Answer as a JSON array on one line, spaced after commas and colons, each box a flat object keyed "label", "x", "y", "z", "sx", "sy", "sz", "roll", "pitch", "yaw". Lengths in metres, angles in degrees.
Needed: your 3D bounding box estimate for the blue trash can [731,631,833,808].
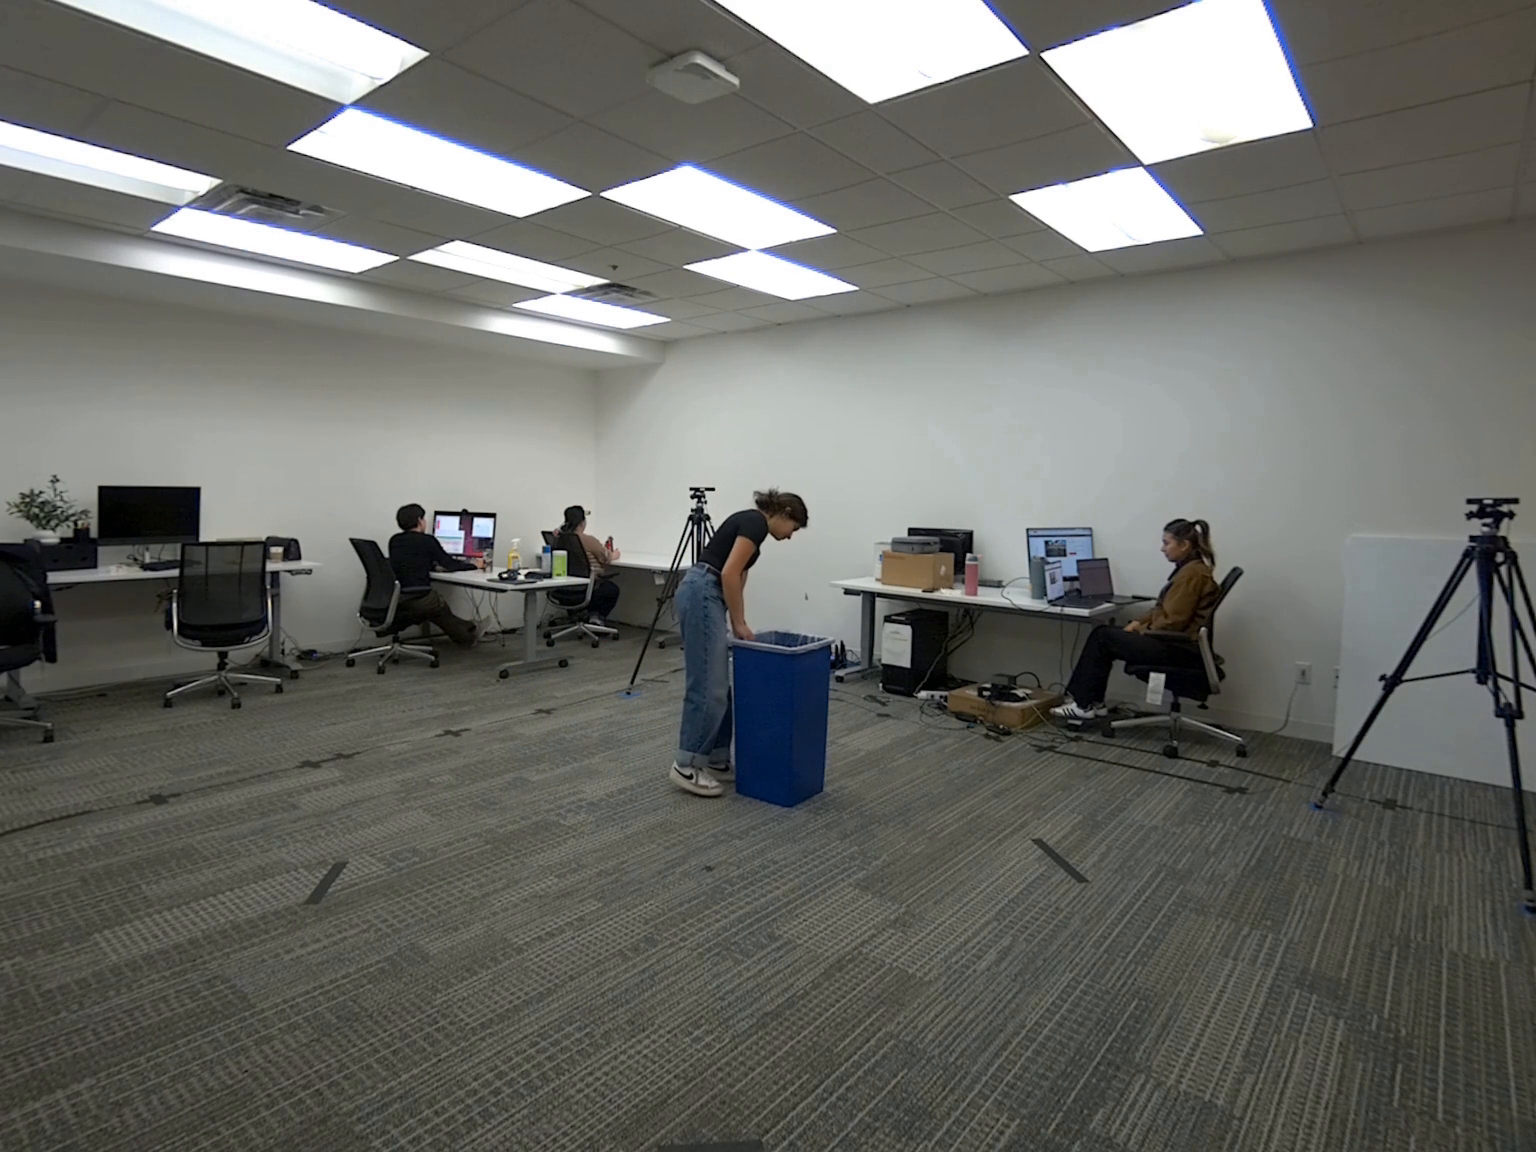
[{"label": "blue trash can", "x": 0.062, "y": 0.637, "z": 3.903, "sx": 0.386, "sy": 0.711, "sz": 0.367, "roll": 2, "pitch": 4, "yaw": 35}]
